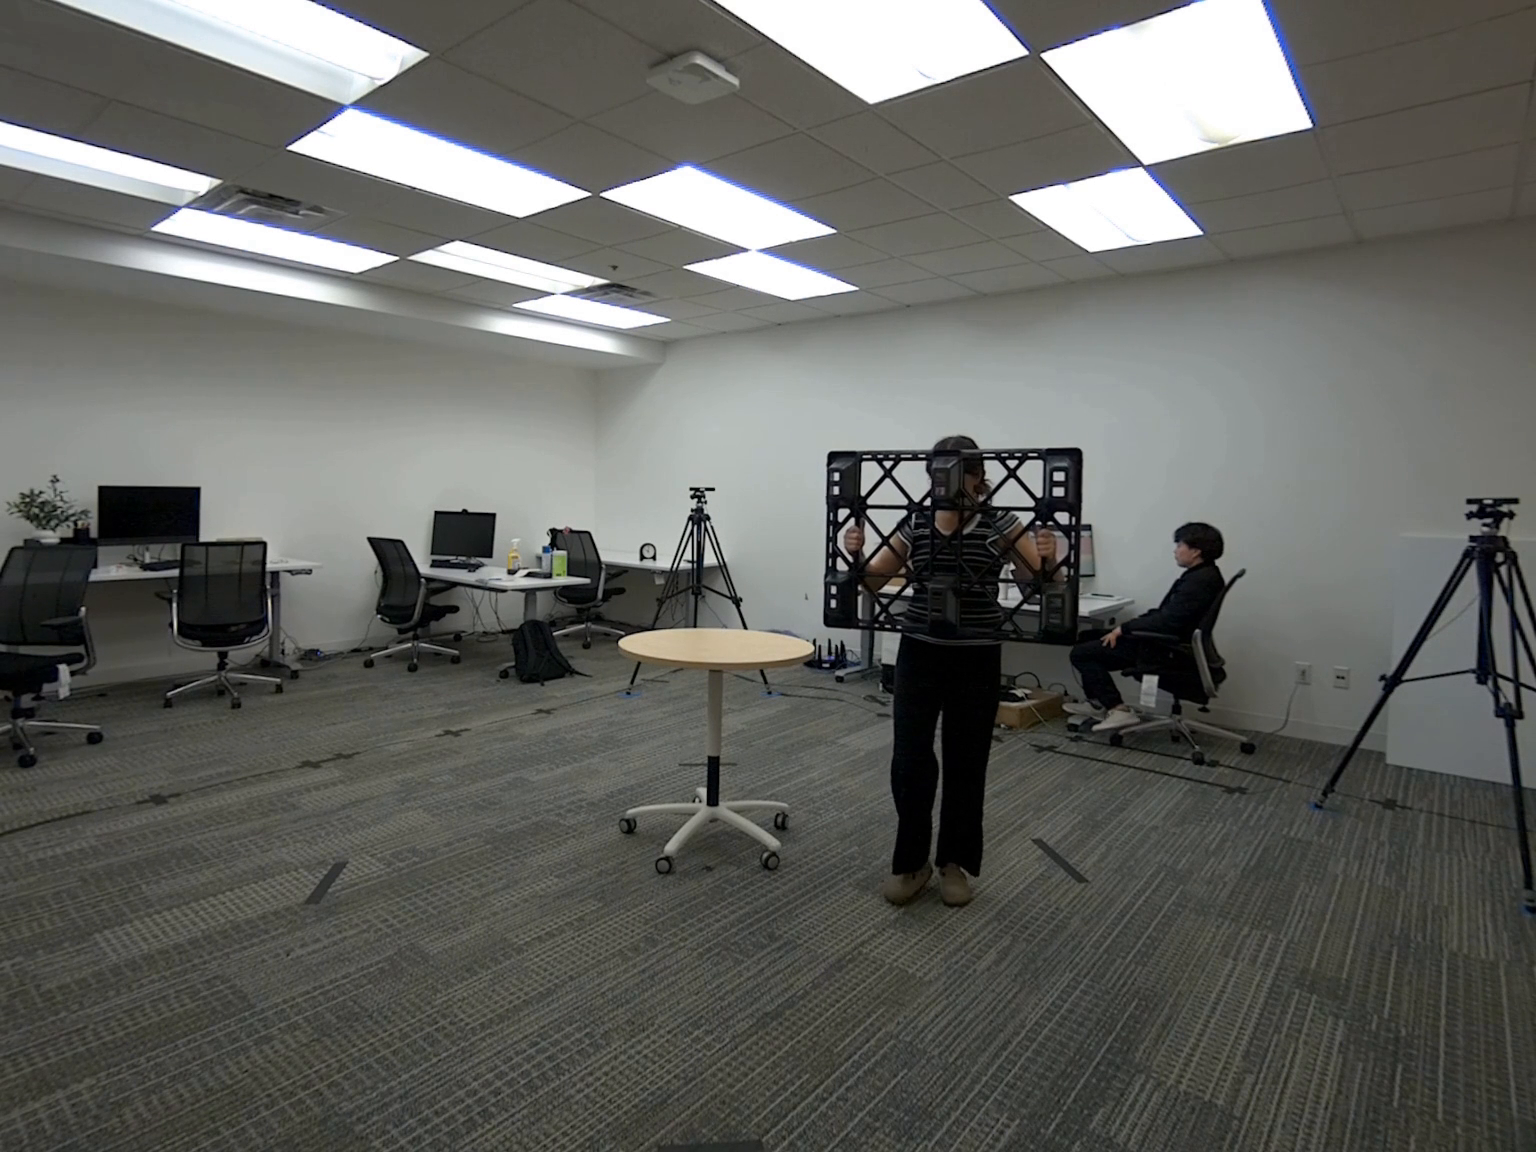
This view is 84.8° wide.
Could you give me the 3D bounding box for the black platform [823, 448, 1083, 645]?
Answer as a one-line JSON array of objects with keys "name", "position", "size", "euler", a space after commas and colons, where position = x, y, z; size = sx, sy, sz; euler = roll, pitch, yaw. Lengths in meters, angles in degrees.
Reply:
[{"name": "black platform", "position": [0.548, -0.110, 2.701], "size": [0.825, 0.604, 0.140], "euler": [2, 2, 23]}]
